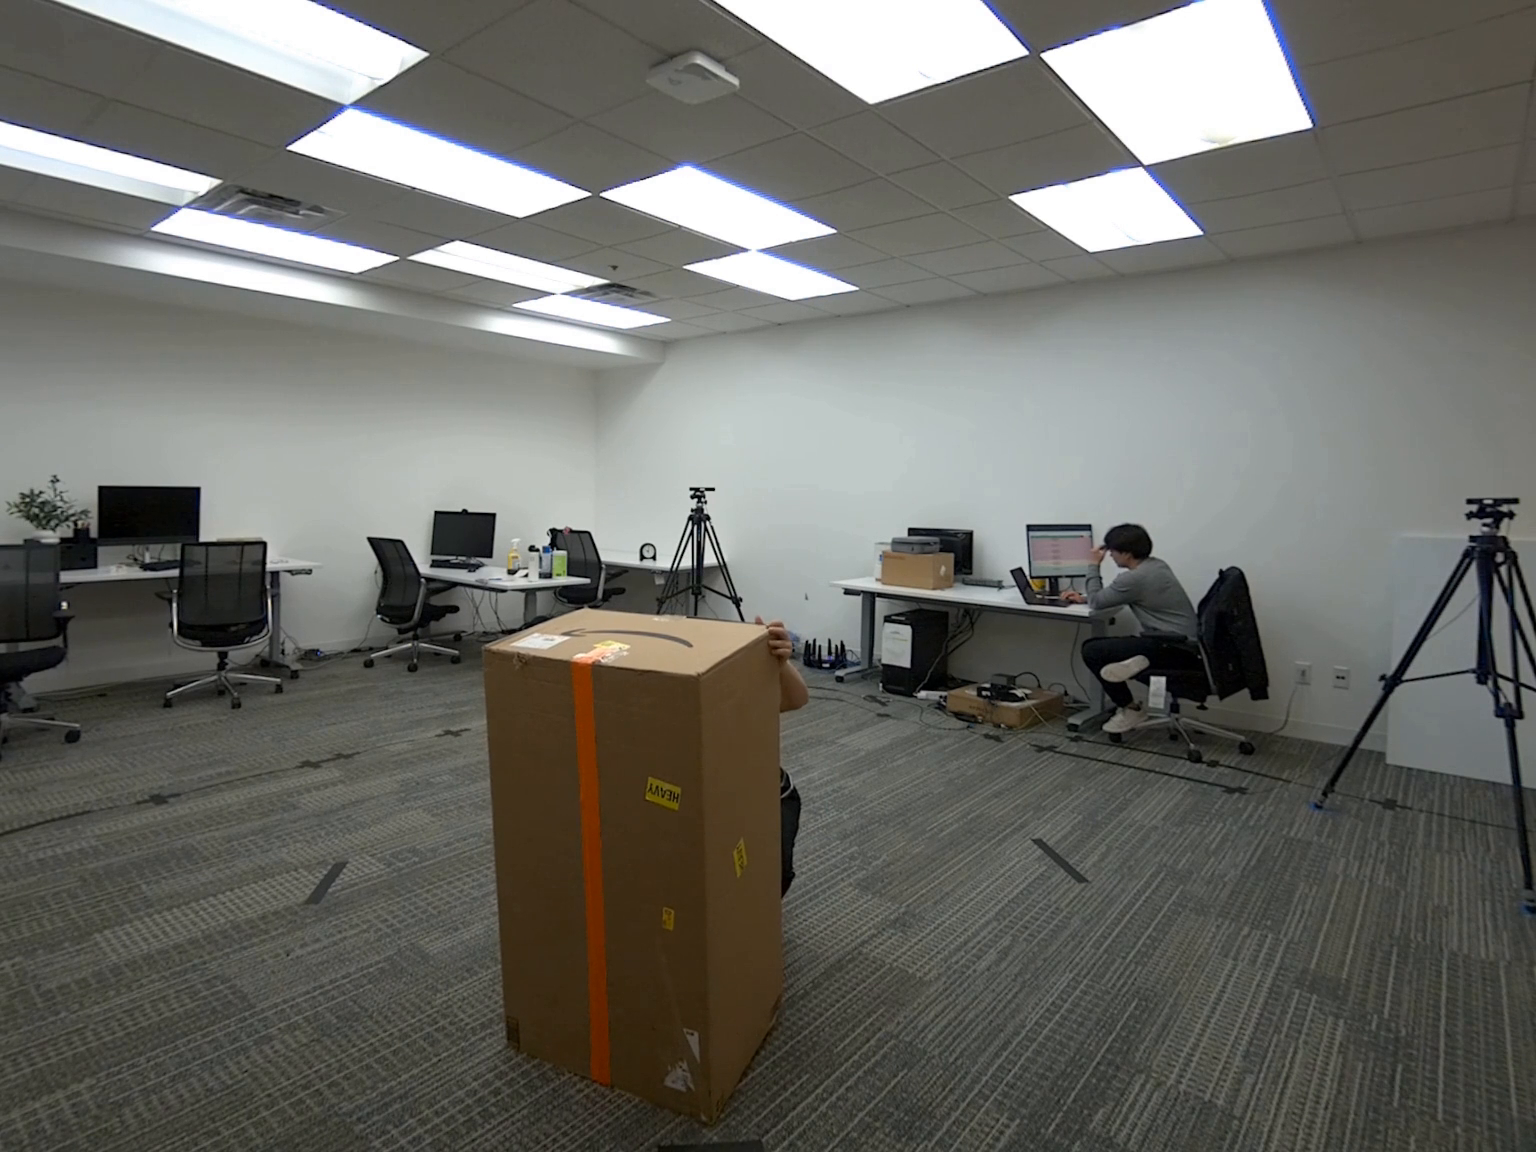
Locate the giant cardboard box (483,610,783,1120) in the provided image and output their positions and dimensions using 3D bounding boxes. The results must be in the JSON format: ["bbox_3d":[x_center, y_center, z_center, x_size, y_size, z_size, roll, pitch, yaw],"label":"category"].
[{"bbox_3d":[-0.321,0.641,2.093,0.592,1.018,0.418,3,8,25],"label":"giant cardboard box"}]
